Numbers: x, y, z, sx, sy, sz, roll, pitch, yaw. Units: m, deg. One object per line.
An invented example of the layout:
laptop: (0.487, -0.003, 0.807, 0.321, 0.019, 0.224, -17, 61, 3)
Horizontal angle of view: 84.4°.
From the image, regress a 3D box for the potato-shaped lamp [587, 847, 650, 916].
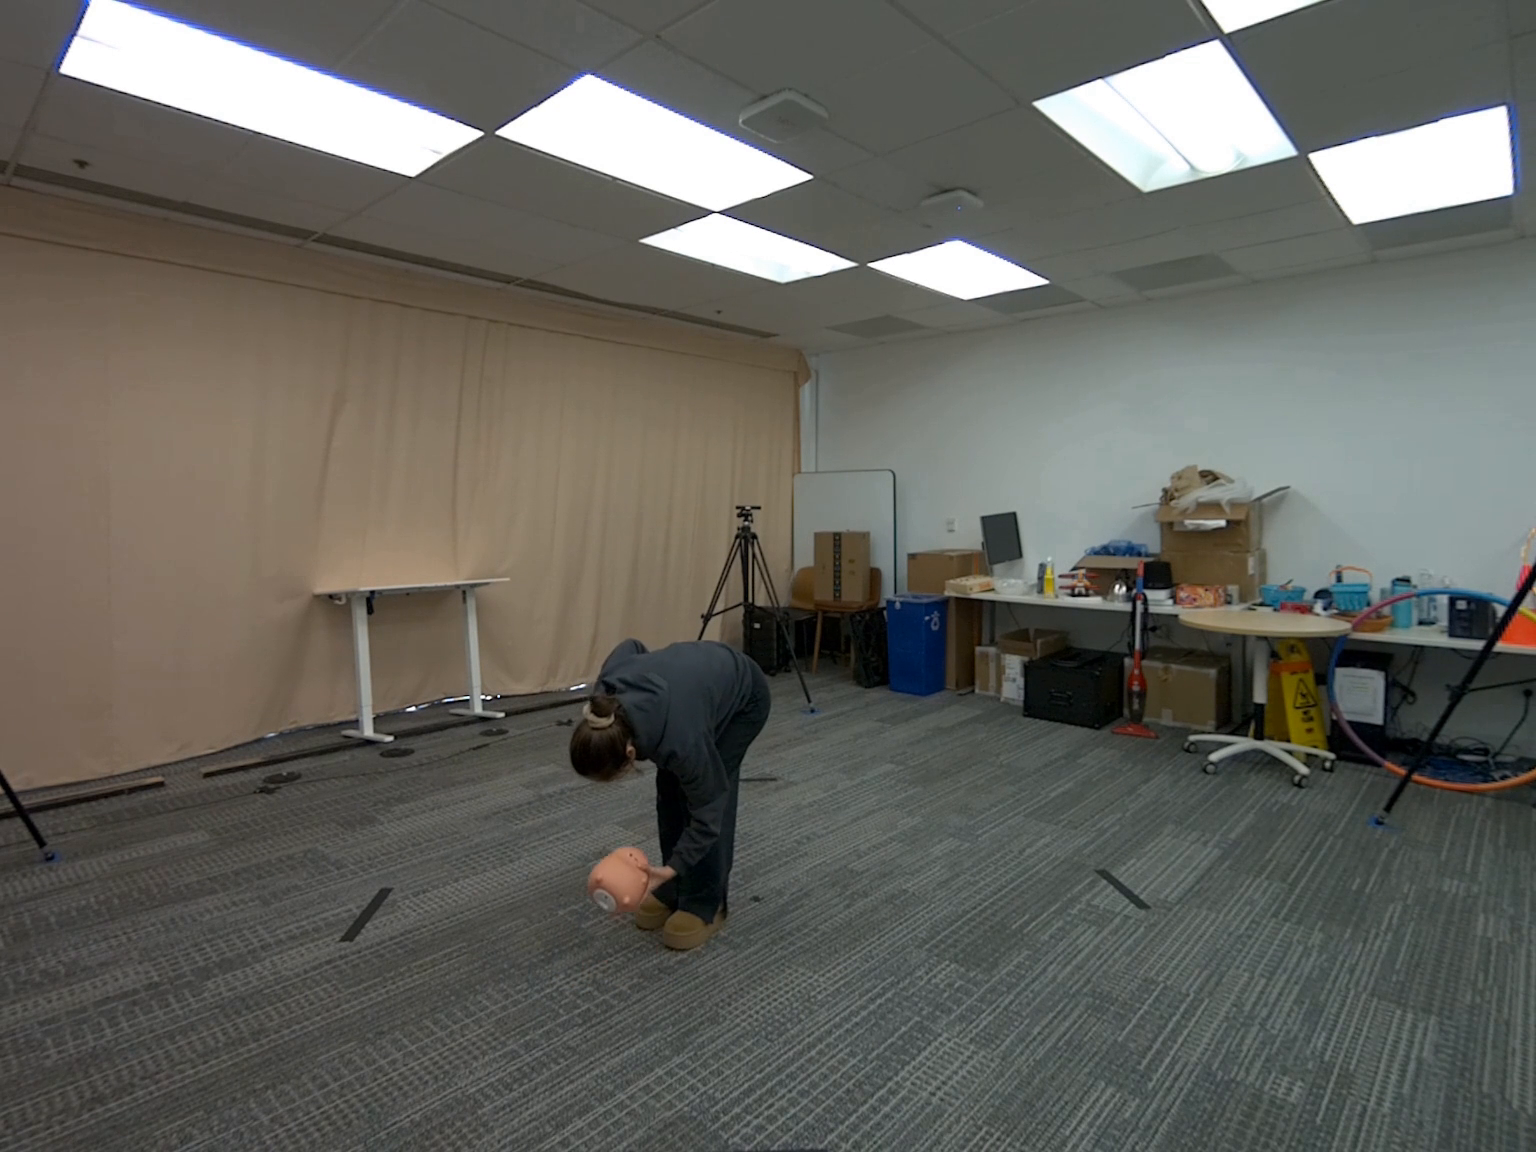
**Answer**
potato-shaped lamp: (-0.416, 0.896, 2.494, 0.167, 0.171, 0.197, 31, 38, 8)
